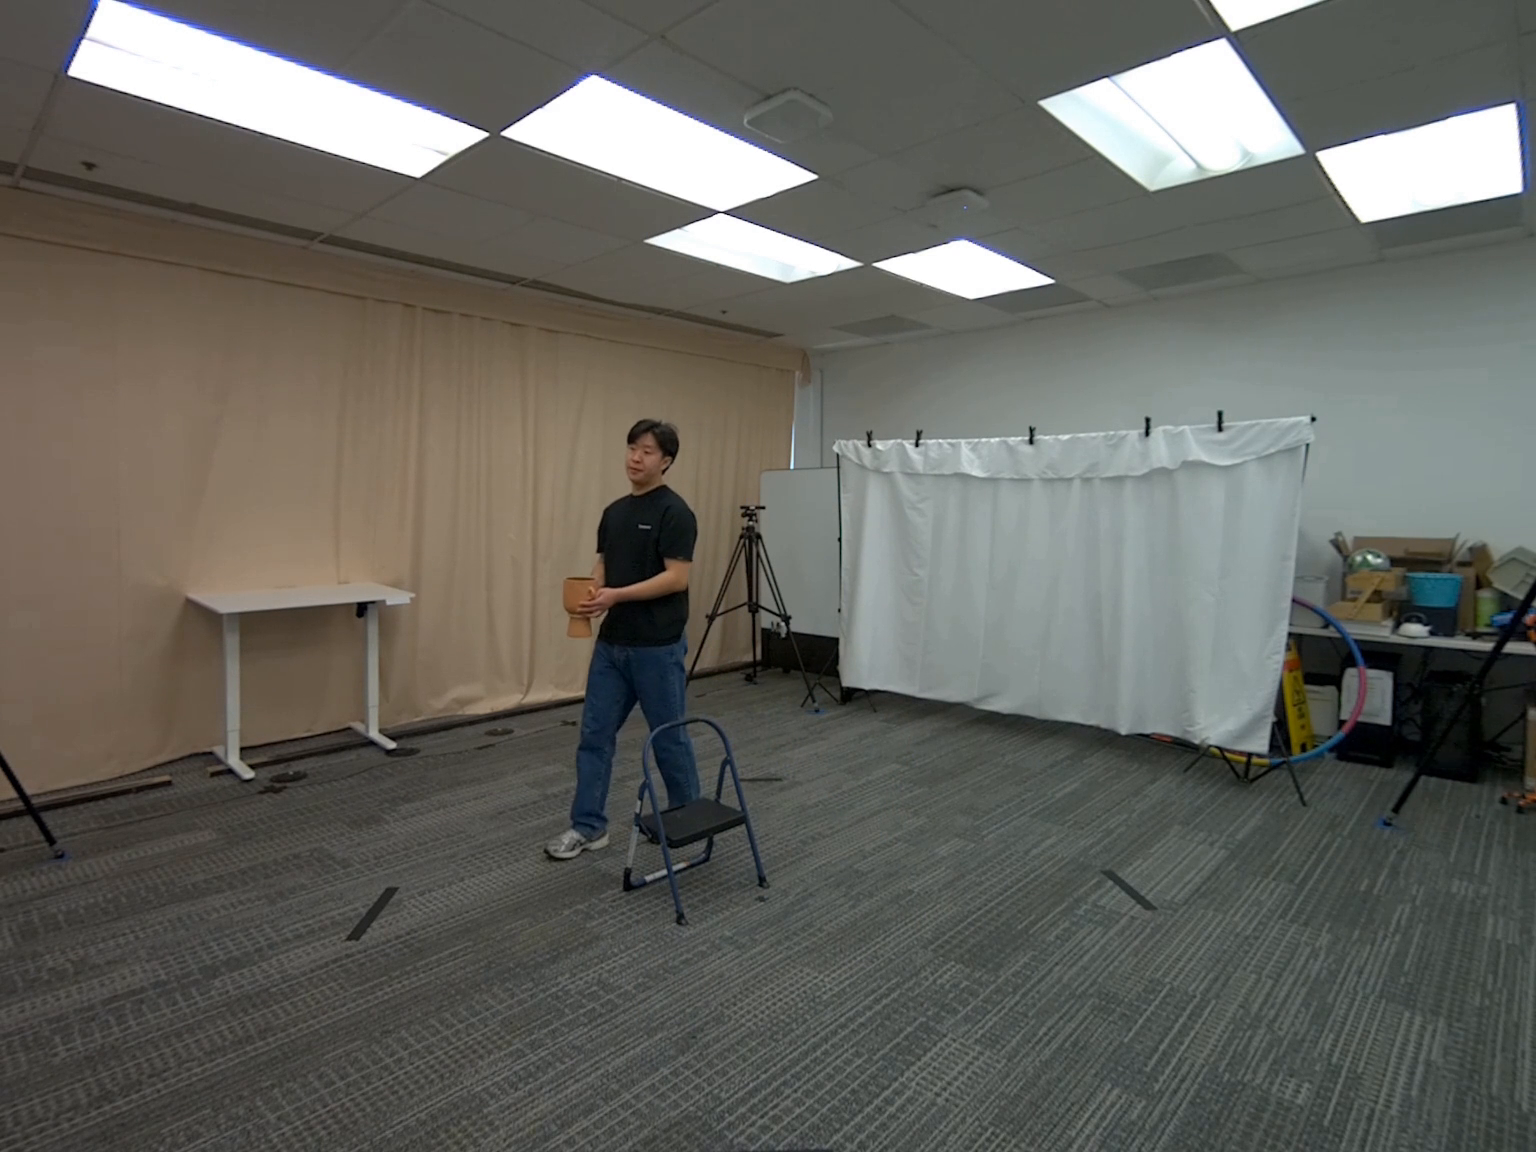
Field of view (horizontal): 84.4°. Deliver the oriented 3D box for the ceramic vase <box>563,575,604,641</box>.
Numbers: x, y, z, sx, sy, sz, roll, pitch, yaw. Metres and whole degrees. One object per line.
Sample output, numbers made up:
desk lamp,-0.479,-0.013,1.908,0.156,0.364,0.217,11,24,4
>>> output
ceramic vase,-0.704,0.118,3.252,0.134,0.219,0.160,3,5,-3
